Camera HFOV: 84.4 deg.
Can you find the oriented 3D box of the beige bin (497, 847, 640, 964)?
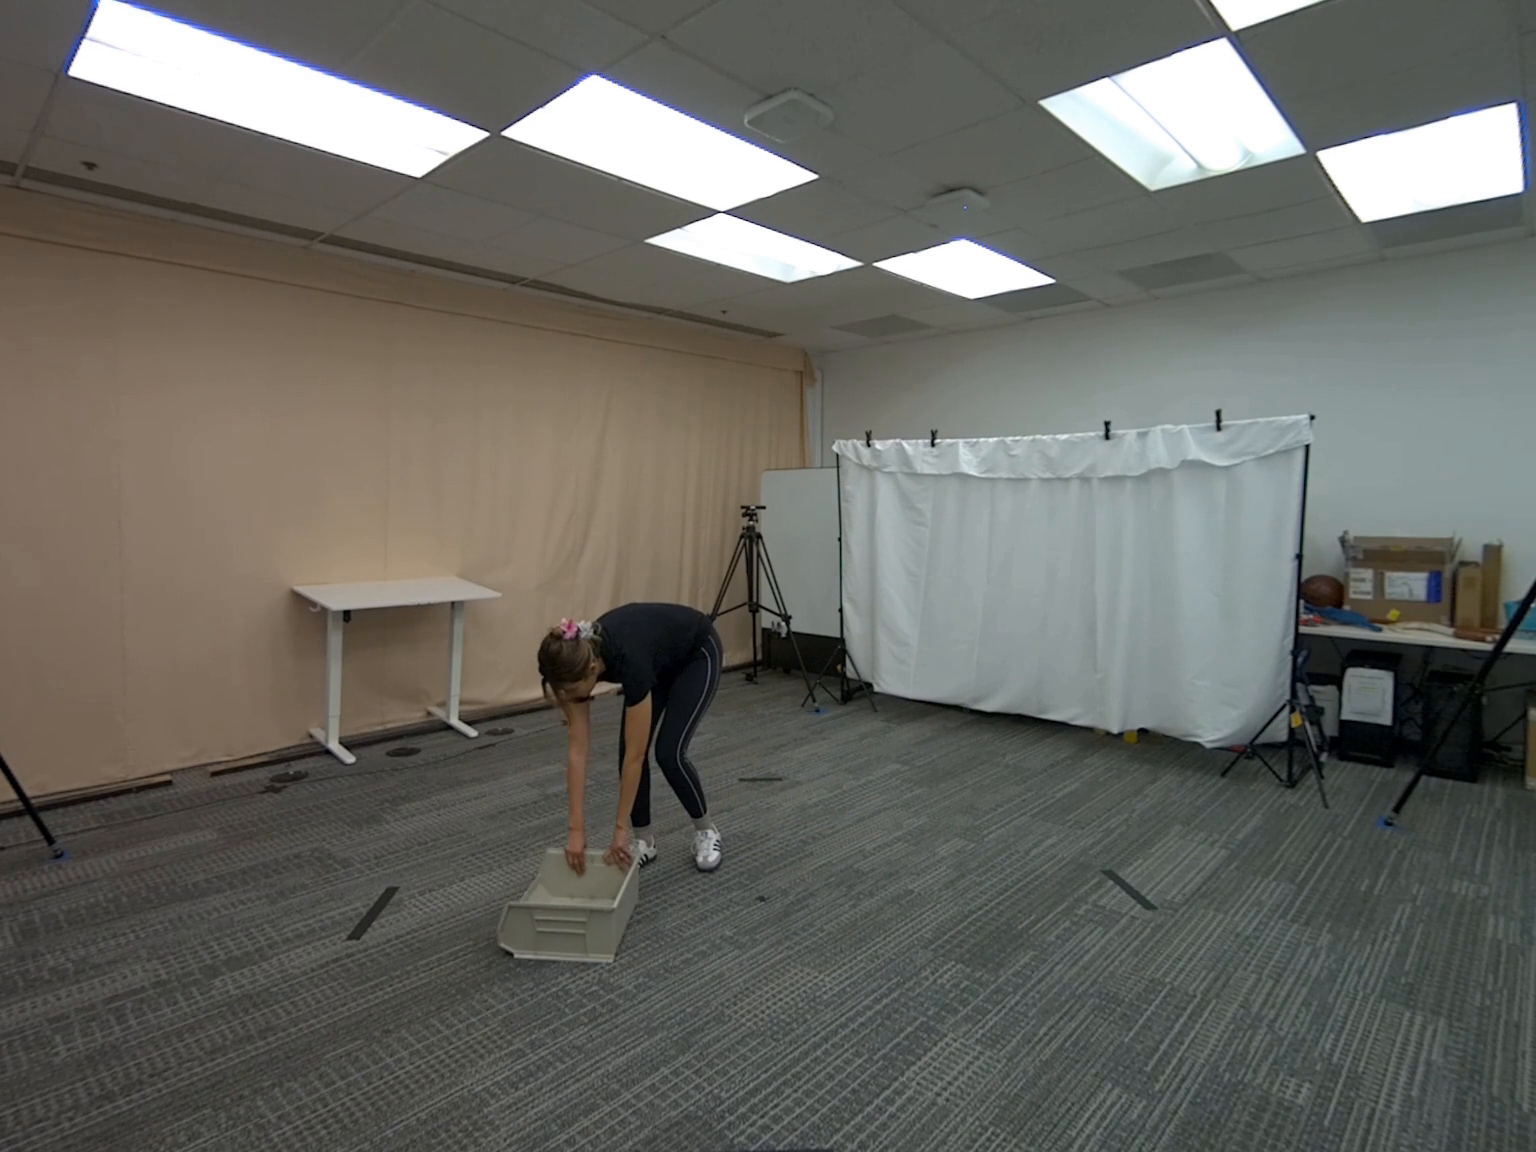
[{"bbox_3d":[-0.638,1.069,2.787,0.379,0.188,0.421,1,4,3],"label":"beige bin"}]
